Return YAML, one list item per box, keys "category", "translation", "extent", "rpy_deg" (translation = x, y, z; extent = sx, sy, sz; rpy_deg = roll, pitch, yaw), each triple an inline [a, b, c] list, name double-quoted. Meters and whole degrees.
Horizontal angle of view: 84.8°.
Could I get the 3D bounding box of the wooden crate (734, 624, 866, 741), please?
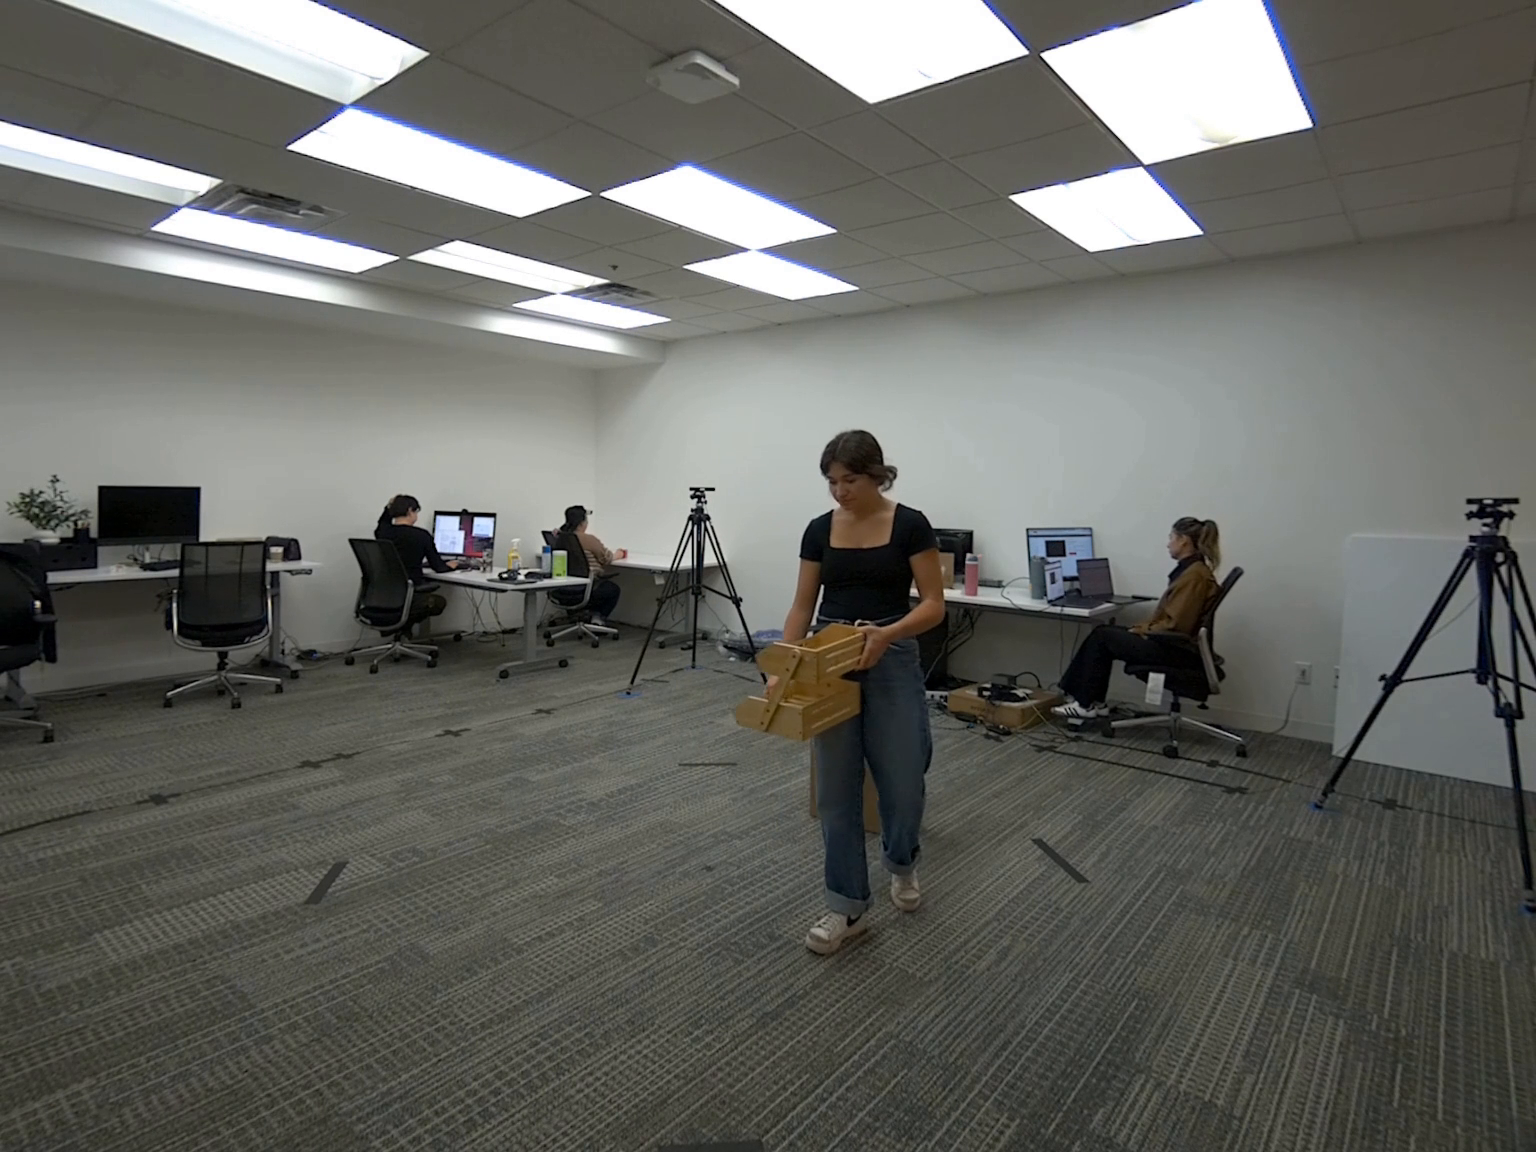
- category: "wooden crate"
  translation: [0.093, 0.284, 2.477]
  extent: [0.312, 0.271, 0.316]
  rpy_deg: [6, 11, 36]
